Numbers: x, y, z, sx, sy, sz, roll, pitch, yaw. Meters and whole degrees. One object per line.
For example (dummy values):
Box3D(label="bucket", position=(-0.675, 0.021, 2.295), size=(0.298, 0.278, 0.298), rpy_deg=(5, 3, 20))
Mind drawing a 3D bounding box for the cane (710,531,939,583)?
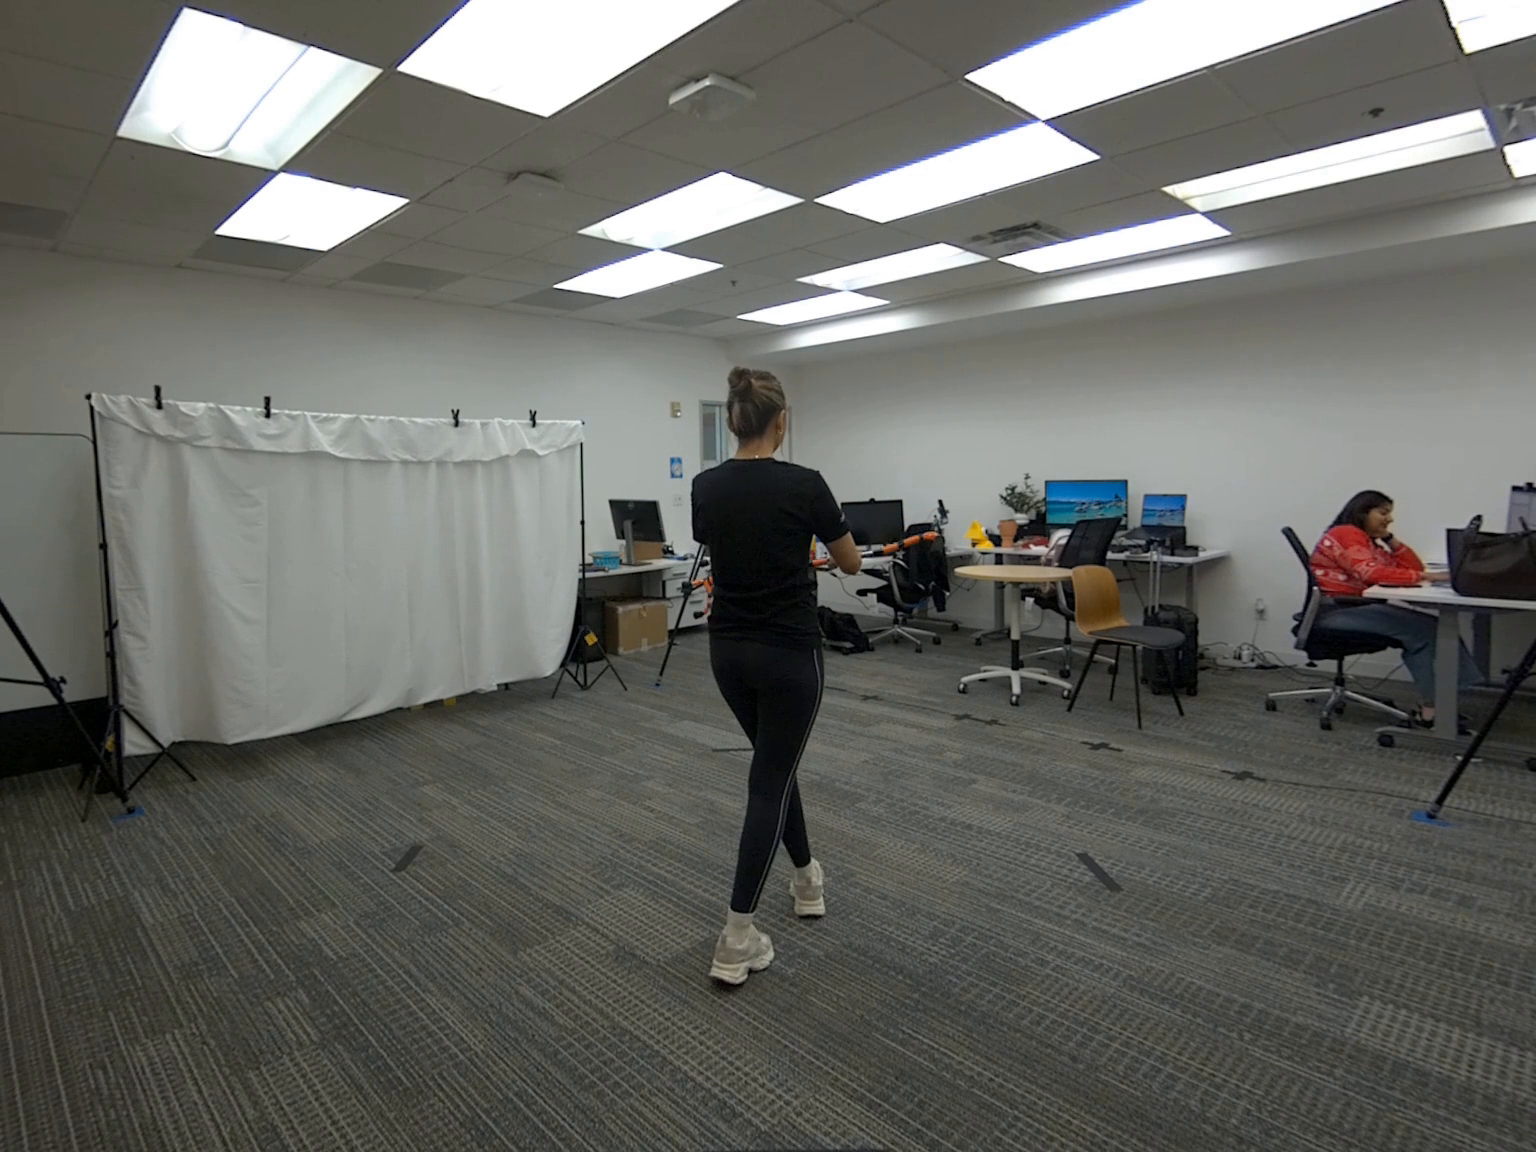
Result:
Box3D(label="cane", position=(0.166, -0.033, 2.929), size=(0.925, 0.148, 0.207), rpy_deg=(-10, 21, 27))
